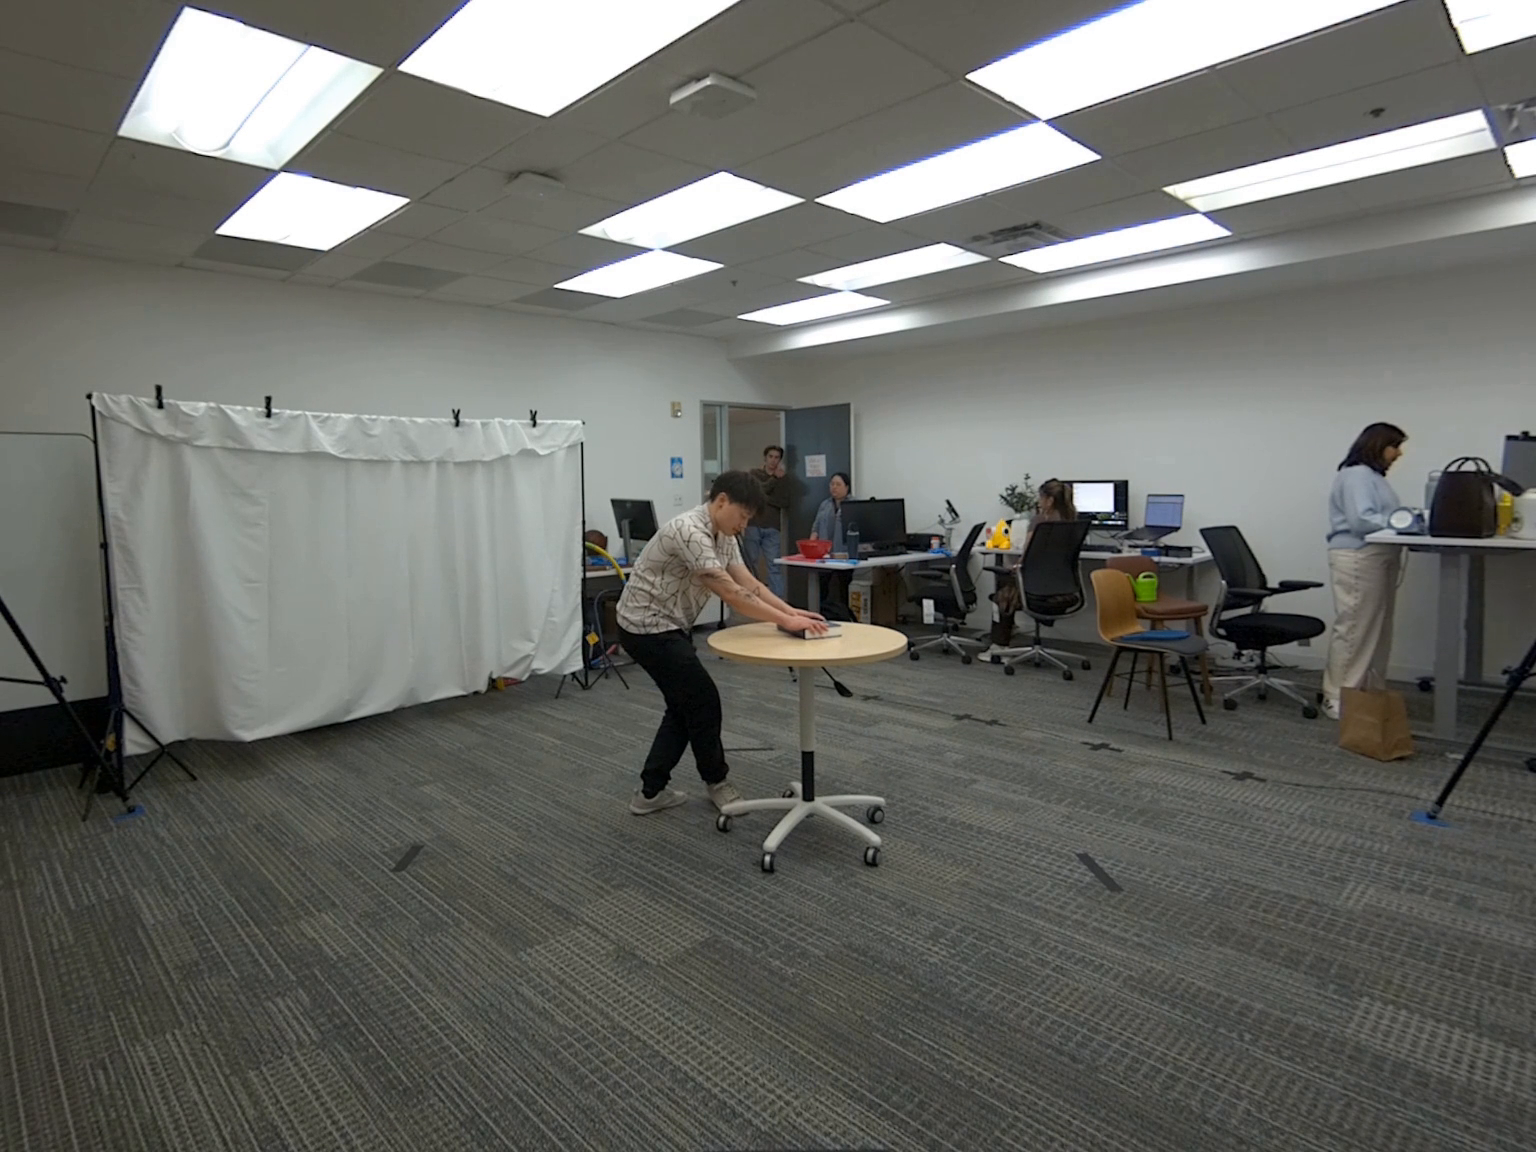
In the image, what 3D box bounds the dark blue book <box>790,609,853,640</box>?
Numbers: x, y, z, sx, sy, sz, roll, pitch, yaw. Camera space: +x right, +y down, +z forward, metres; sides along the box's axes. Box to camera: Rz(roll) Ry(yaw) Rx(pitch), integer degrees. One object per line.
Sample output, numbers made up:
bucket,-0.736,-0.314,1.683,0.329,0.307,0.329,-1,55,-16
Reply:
dark blue book,0.173,0.211,3.405,0.160,0.045,0.251,-4,7,-23
